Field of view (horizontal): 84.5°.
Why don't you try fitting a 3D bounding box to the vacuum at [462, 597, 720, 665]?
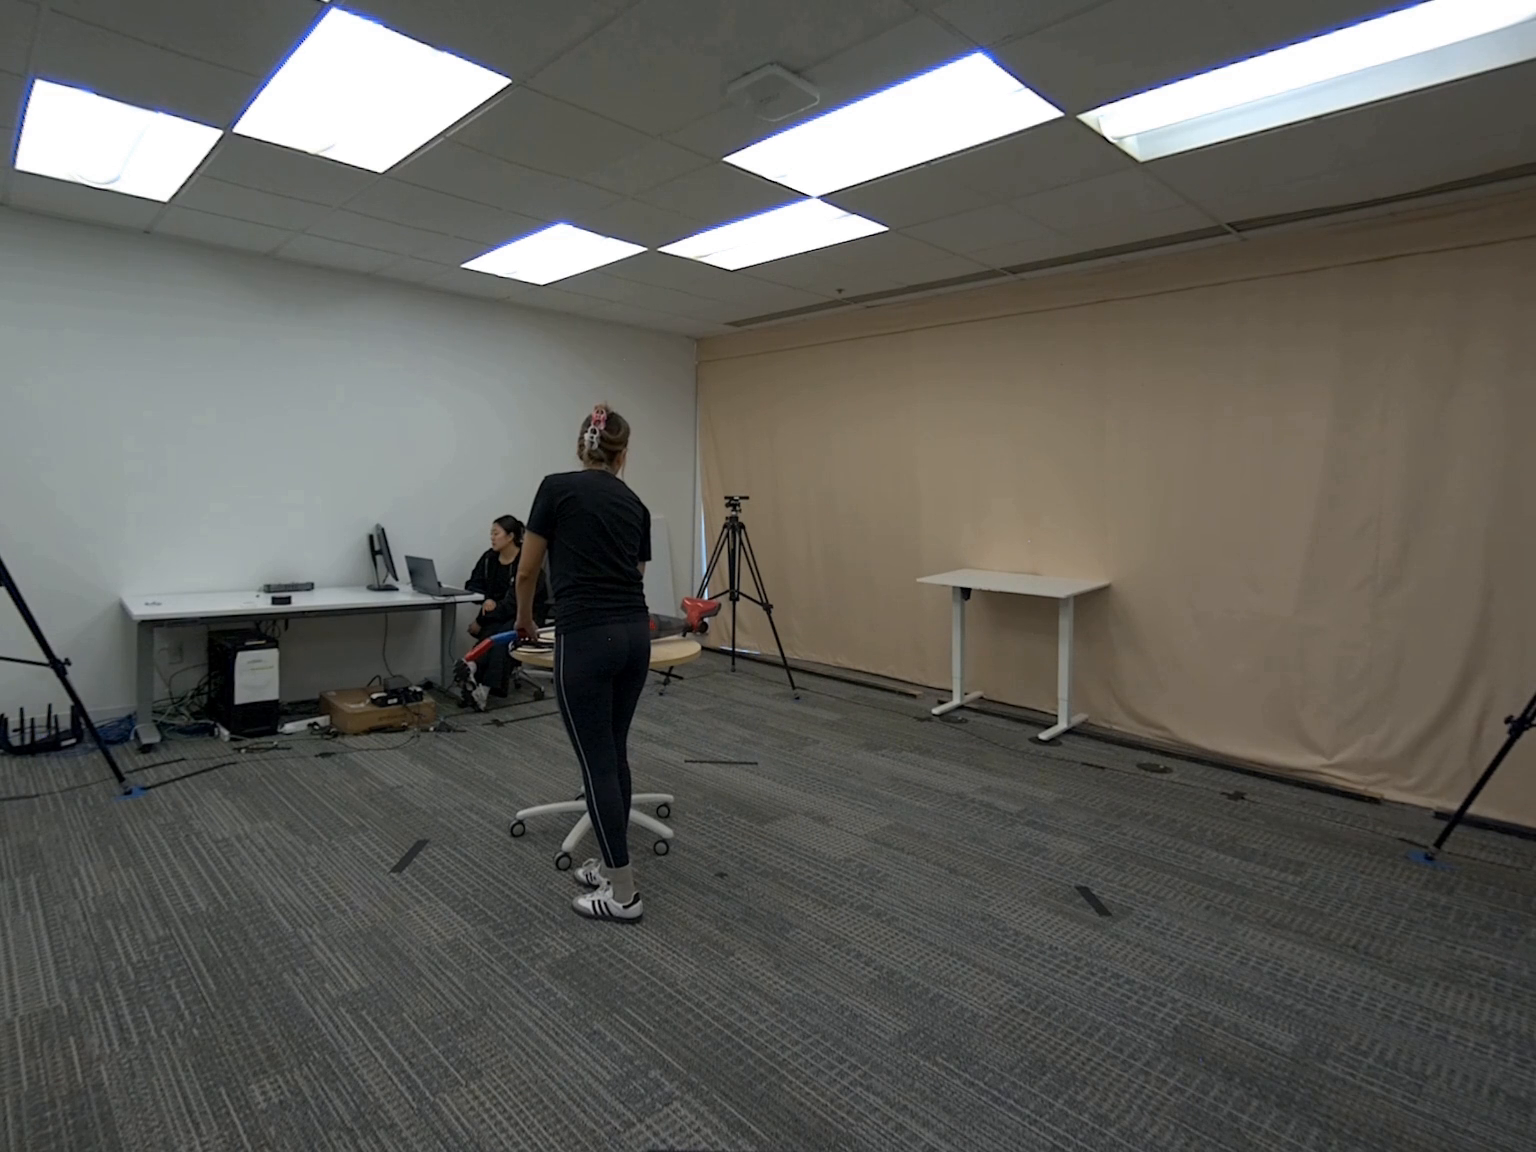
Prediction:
[{"bbox_3d":[-0.684,0.235,3.317,1.028,0.143,0.258,-9,6,-40],"label":"vacuum"}]
